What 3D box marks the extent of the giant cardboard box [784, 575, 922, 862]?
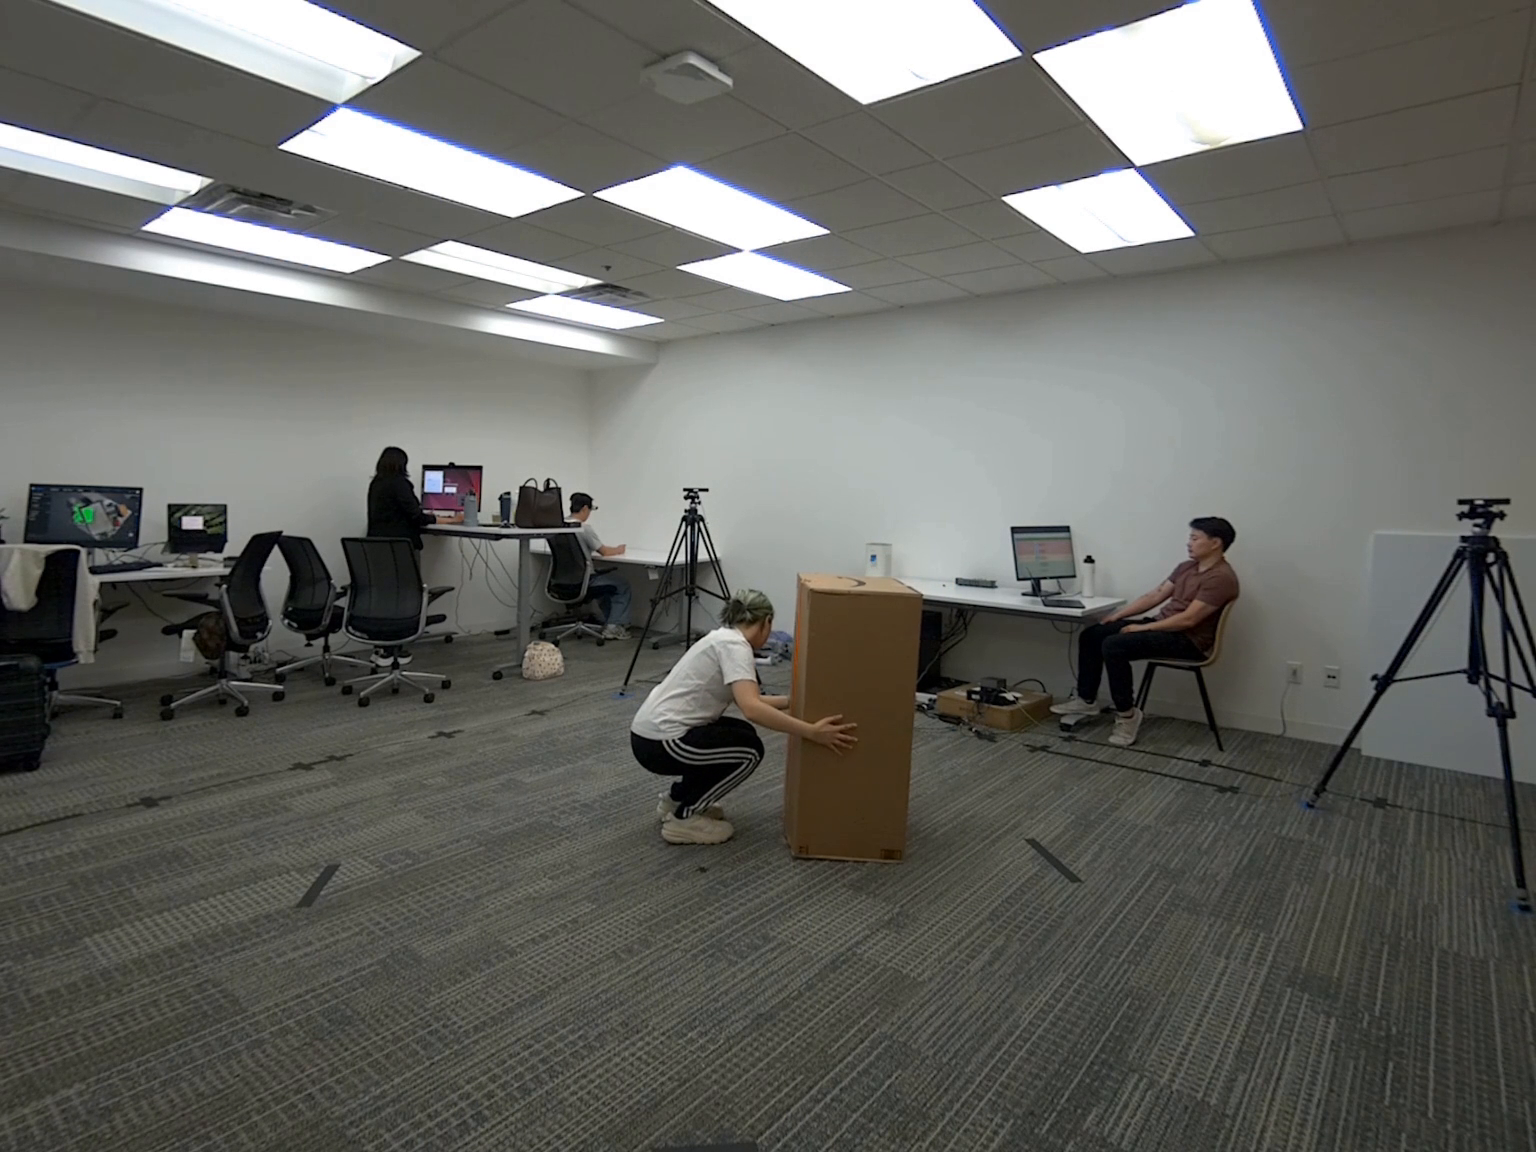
[{"bbox_3d":[0.310,0.531,3.453,0.446,1.024,0.587,4,4,-2],"label":"giant cardboard box"}]
